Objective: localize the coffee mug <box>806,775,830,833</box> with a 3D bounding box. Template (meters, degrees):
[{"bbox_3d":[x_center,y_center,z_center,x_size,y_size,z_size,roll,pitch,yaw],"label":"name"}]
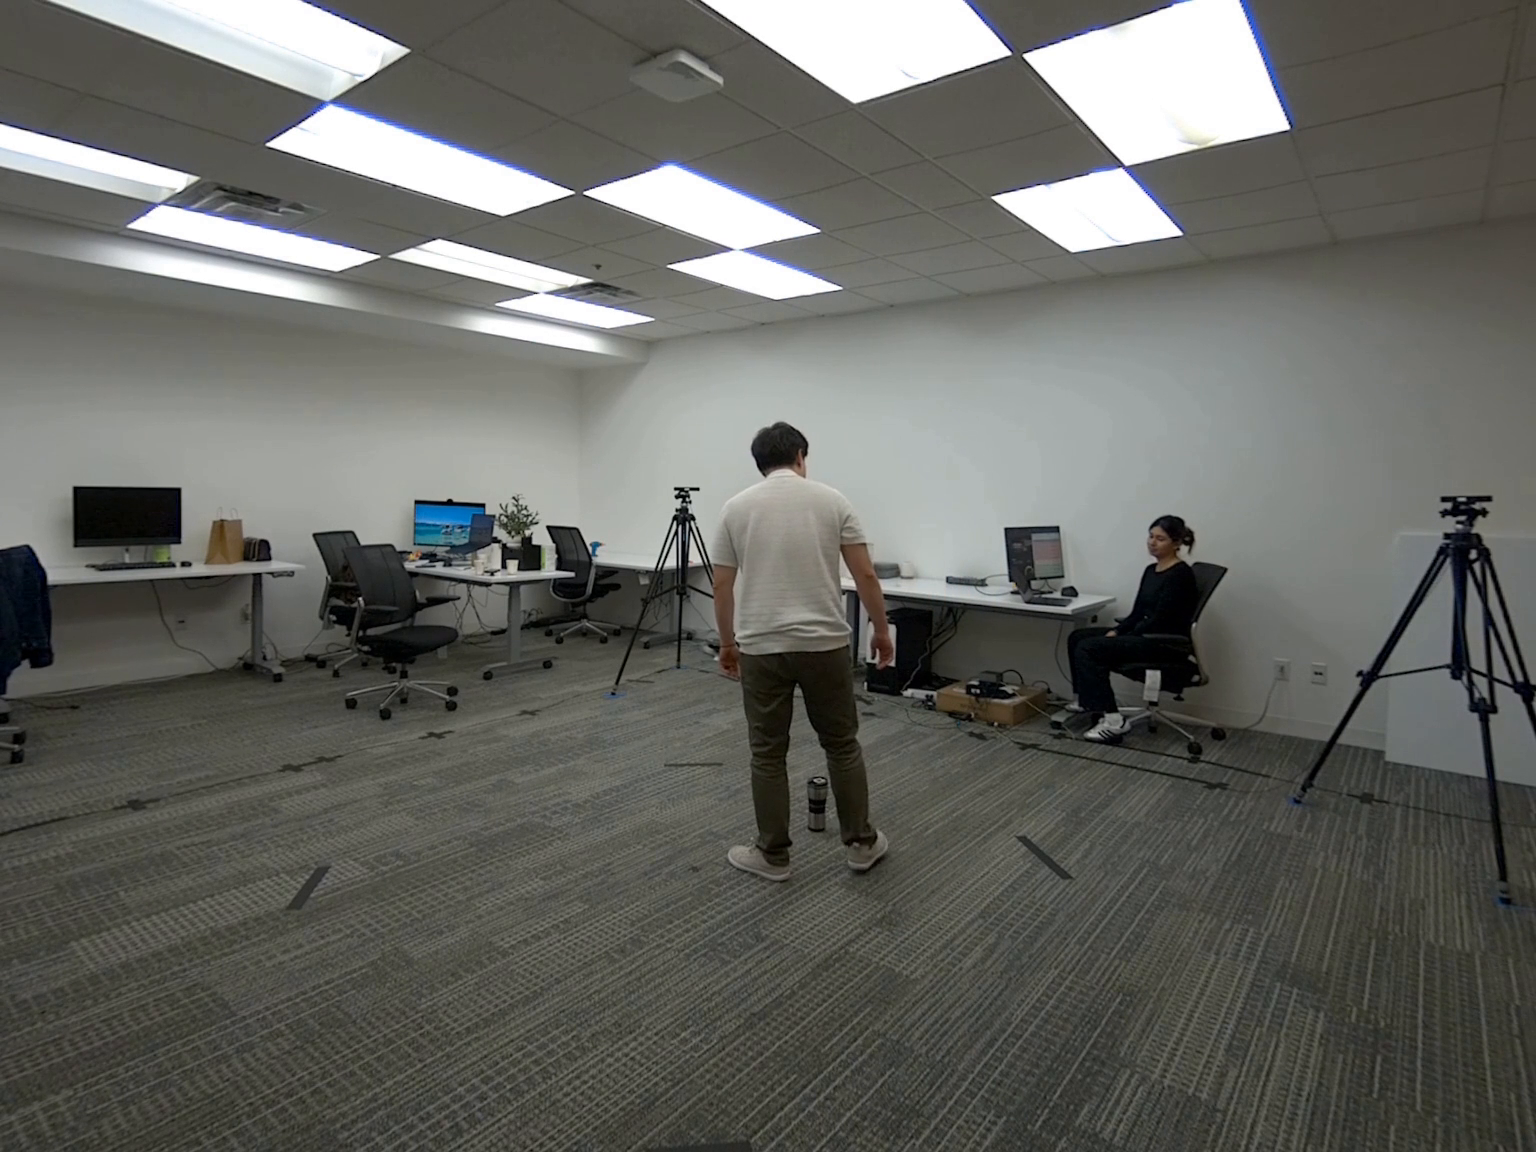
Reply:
[{"bbox_3d":[0.206,0.935,3.516,0.090,0.202,0.119,-1,4,24],"label":"coffee mug"}]
